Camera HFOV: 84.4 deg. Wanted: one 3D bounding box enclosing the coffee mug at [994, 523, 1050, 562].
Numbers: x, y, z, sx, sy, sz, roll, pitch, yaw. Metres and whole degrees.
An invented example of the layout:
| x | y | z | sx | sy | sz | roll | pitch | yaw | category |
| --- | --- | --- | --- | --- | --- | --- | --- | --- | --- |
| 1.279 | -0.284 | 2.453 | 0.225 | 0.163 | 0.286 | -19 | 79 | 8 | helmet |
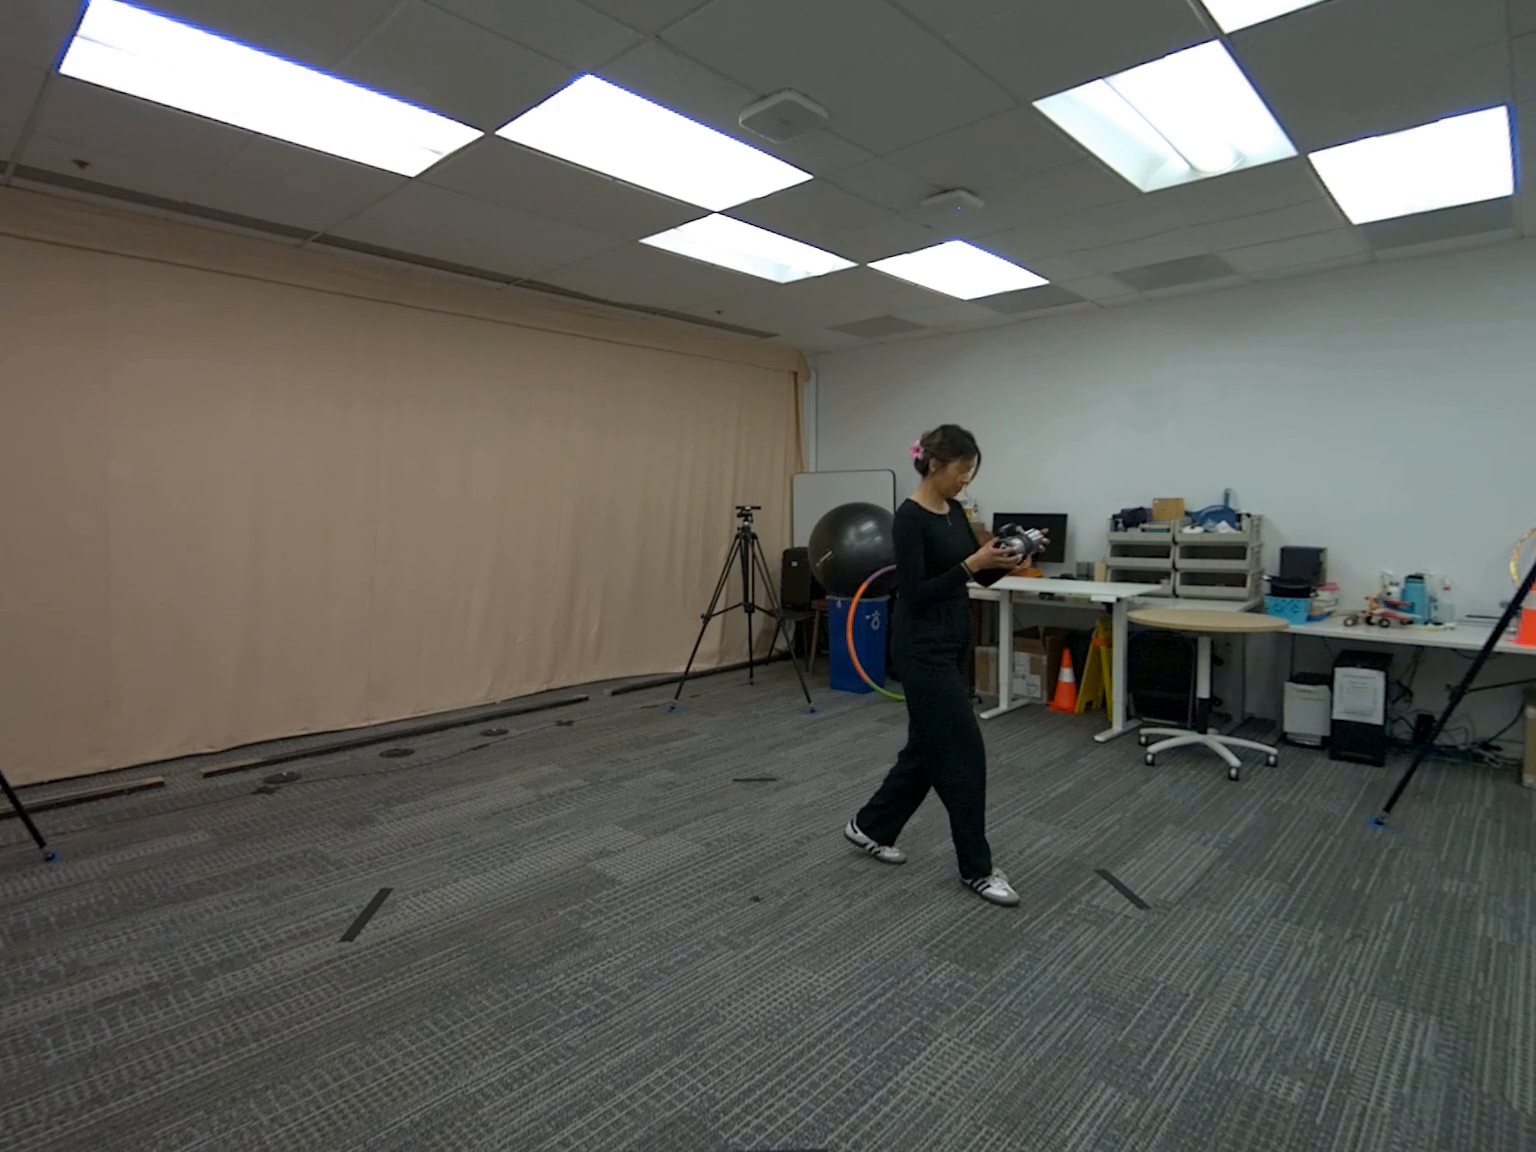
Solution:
| x | y | z | sx | sy | sz | roll | pitch | yaw | category |
| --- | --- | --- | --- | --- | --- | --- | --- | --- | --- |
| 0.860 | -0.120 | 2.881 | 0.198 | 0.120 | 0.091 | -22 | 31 | -36 | coffee mug |
